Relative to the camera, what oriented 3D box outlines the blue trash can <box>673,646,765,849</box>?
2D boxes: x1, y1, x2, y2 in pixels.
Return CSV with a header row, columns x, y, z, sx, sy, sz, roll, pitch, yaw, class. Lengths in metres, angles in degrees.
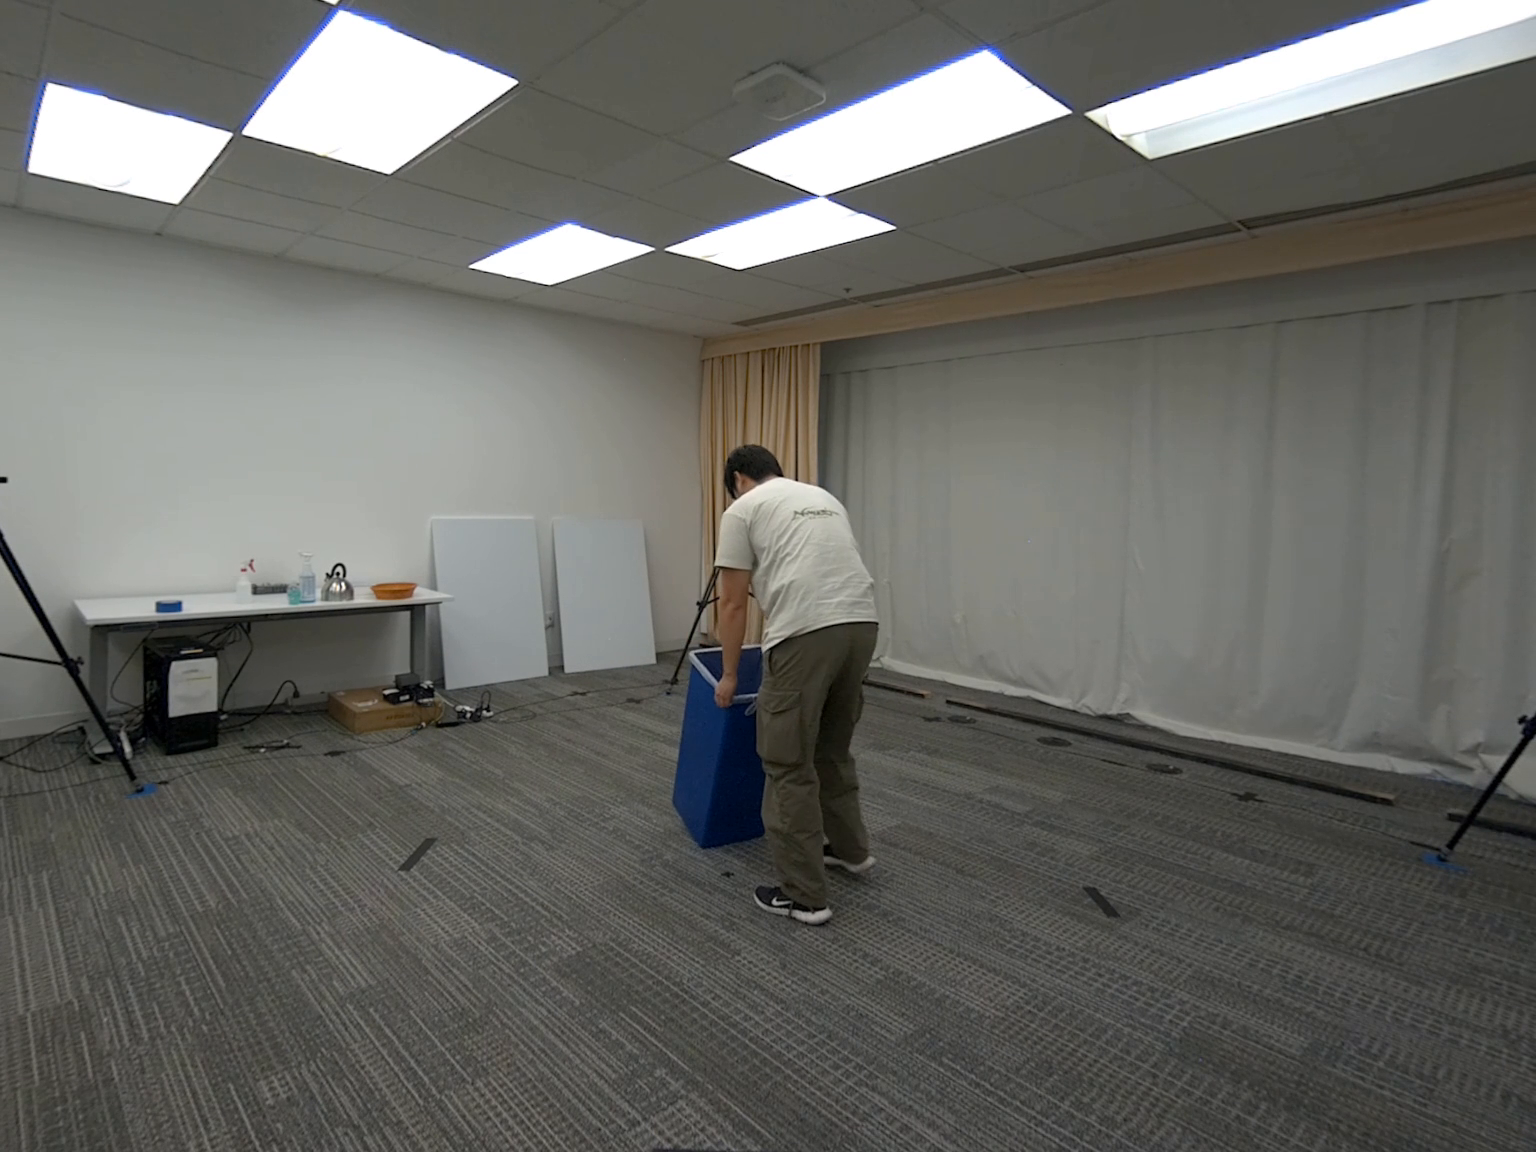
x,y,z,sx,sy,sz,roll,pitch,yaw,class
-0.152,0.684,3.394,0.370,0.705,0.386,-1,25,-32,blue trash can
